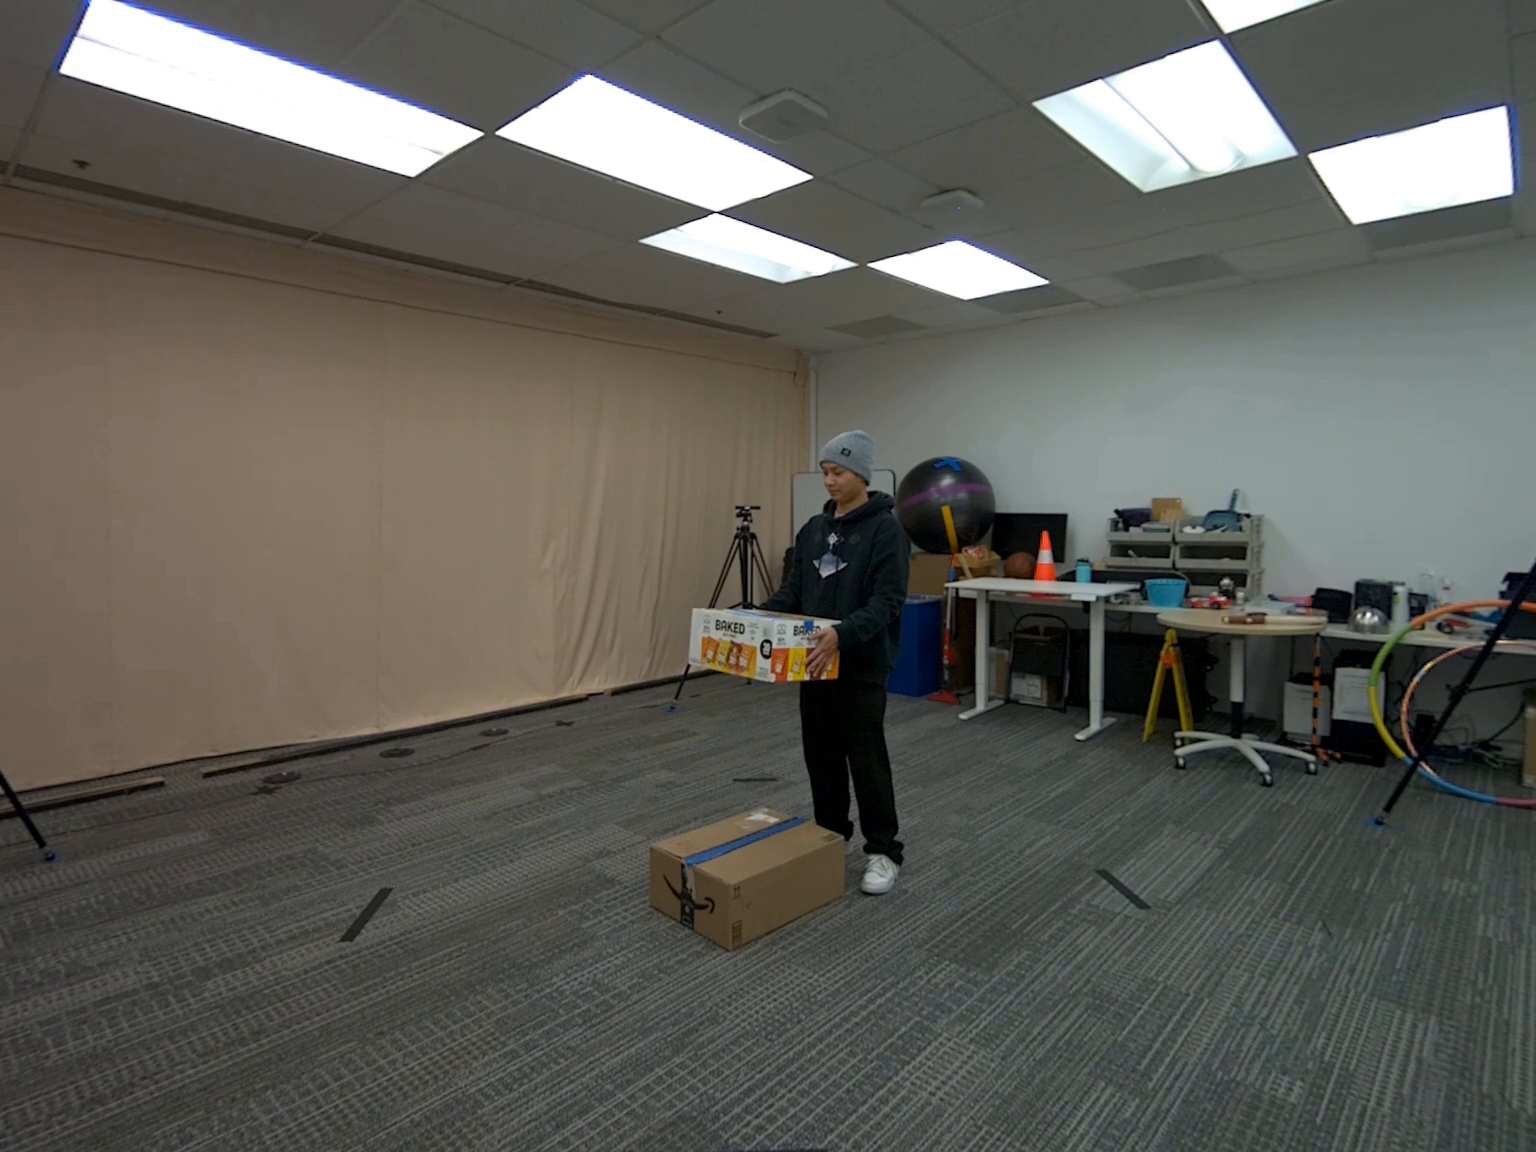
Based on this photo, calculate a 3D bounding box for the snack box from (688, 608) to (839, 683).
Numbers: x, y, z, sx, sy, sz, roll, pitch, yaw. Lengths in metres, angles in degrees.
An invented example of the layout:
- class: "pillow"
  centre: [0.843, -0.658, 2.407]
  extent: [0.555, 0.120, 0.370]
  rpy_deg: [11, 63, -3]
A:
- class: "snack box"
  centre: [-0.011, 0.238, 2.964]
  extent: [0.329, 0.206, 0.419]
  rpy_deg: [5, 0, -43]
